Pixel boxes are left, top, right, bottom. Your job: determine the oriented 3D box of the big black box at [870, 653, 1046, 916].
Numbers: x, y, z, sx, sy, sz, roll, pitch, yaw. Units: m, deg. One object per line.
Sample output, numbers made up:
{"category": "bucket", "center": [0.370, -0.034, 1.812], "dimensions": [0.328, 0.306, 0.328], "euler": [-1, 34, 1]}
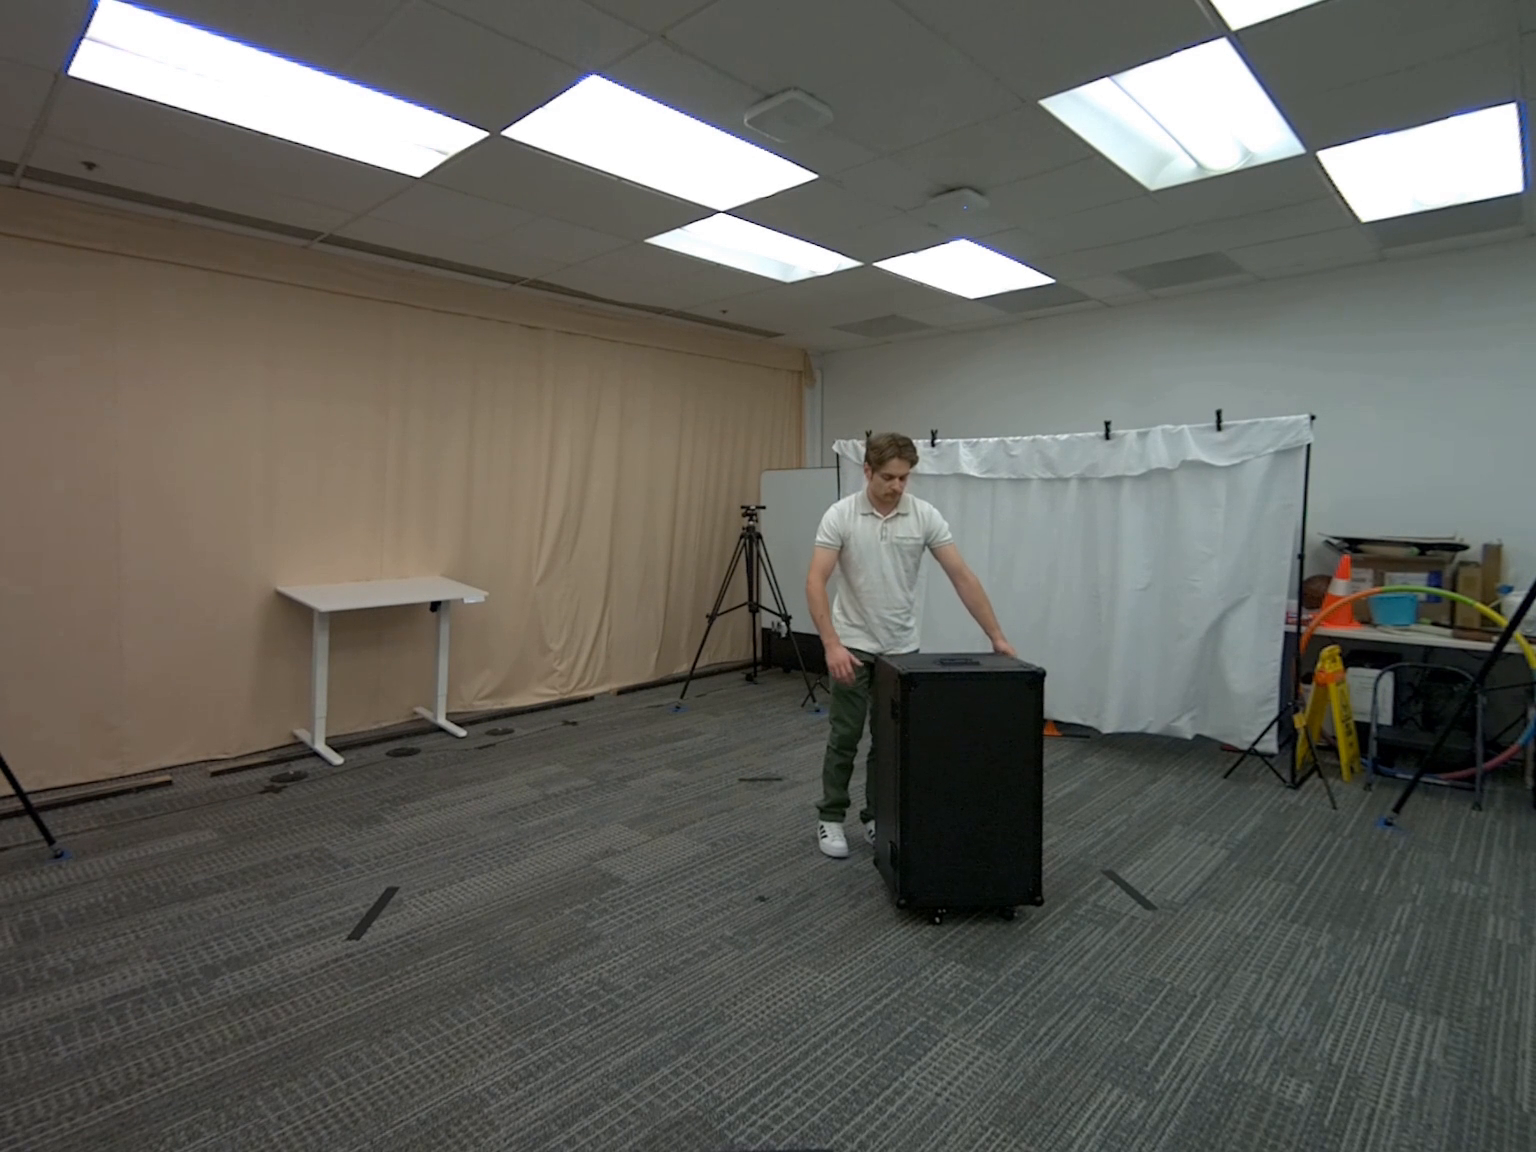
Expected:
{"category": "big black box", "center": [0.653, 0.718, 2.933], "dimensions": [0.519, 0.860, 0.398], "euler": [-2, 3, -4]}
